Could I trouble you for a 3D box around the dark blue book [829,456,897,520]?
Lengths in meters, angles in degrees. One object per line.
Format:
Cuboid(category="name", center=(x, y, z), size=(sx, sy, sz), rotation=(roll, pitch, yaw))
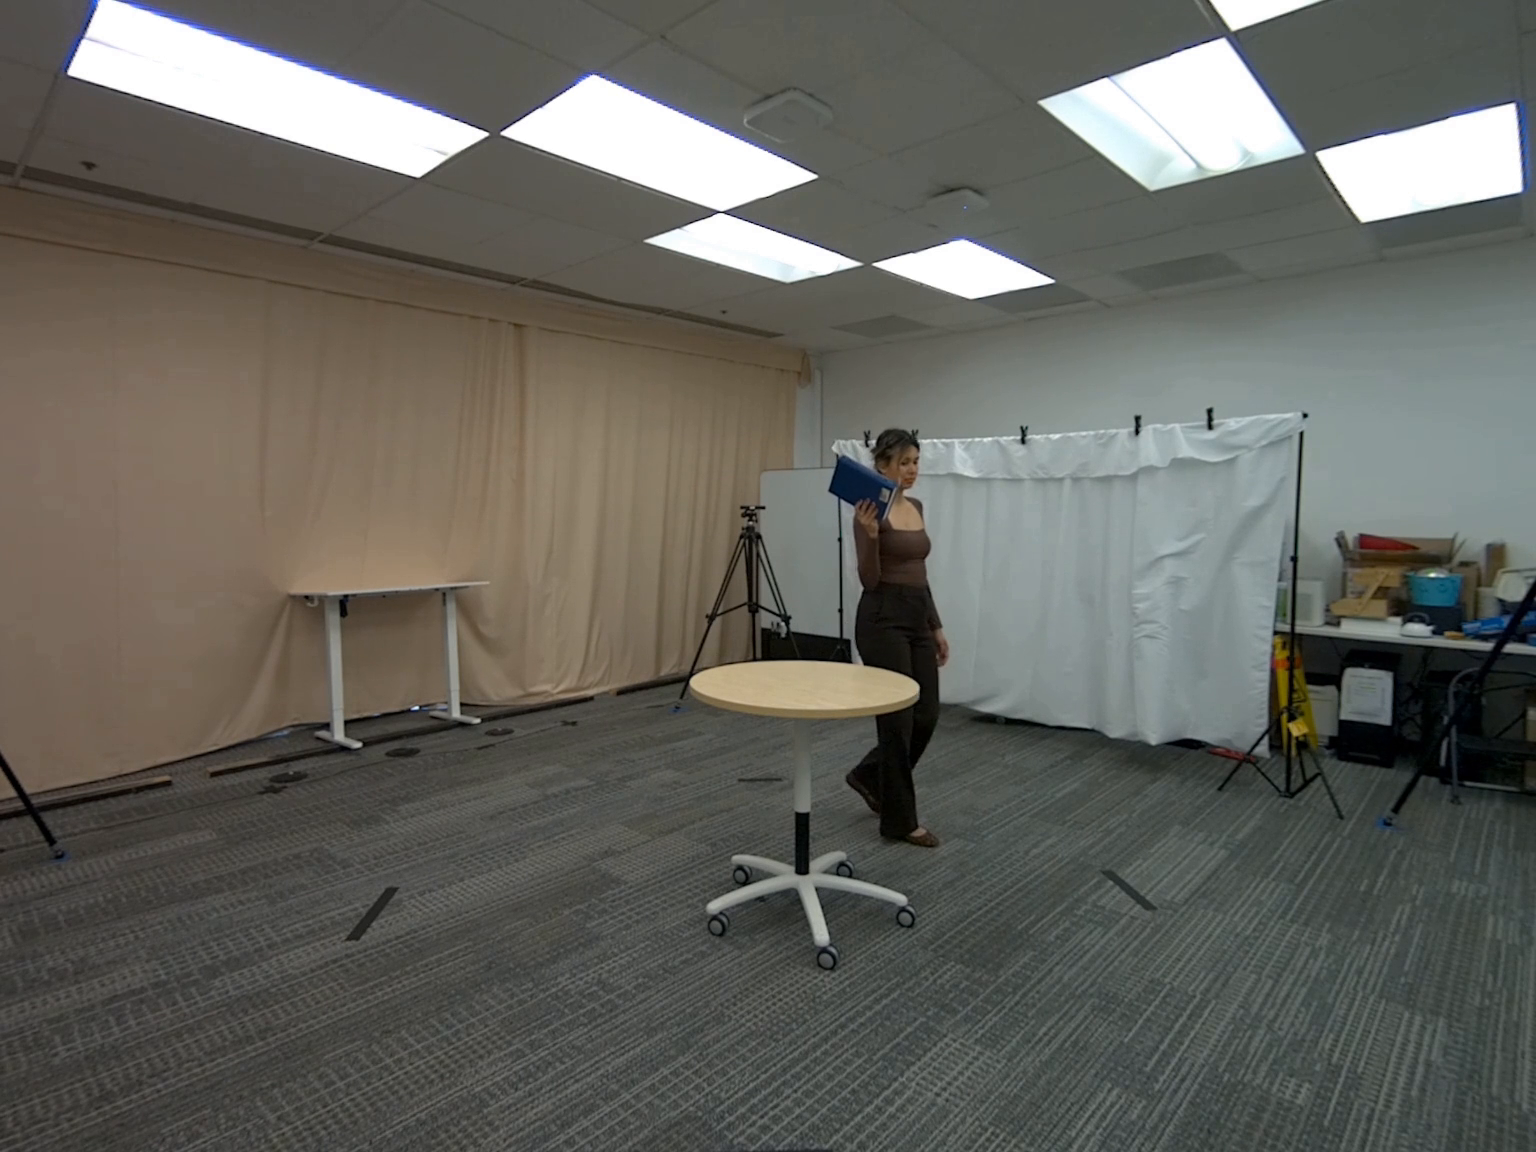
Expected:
Cuboid(category="dark blue book", center=(0.357, -0.329, 3.165), size=(0.251, 0.161, 0.044), rotation=(33, 45, 21))
